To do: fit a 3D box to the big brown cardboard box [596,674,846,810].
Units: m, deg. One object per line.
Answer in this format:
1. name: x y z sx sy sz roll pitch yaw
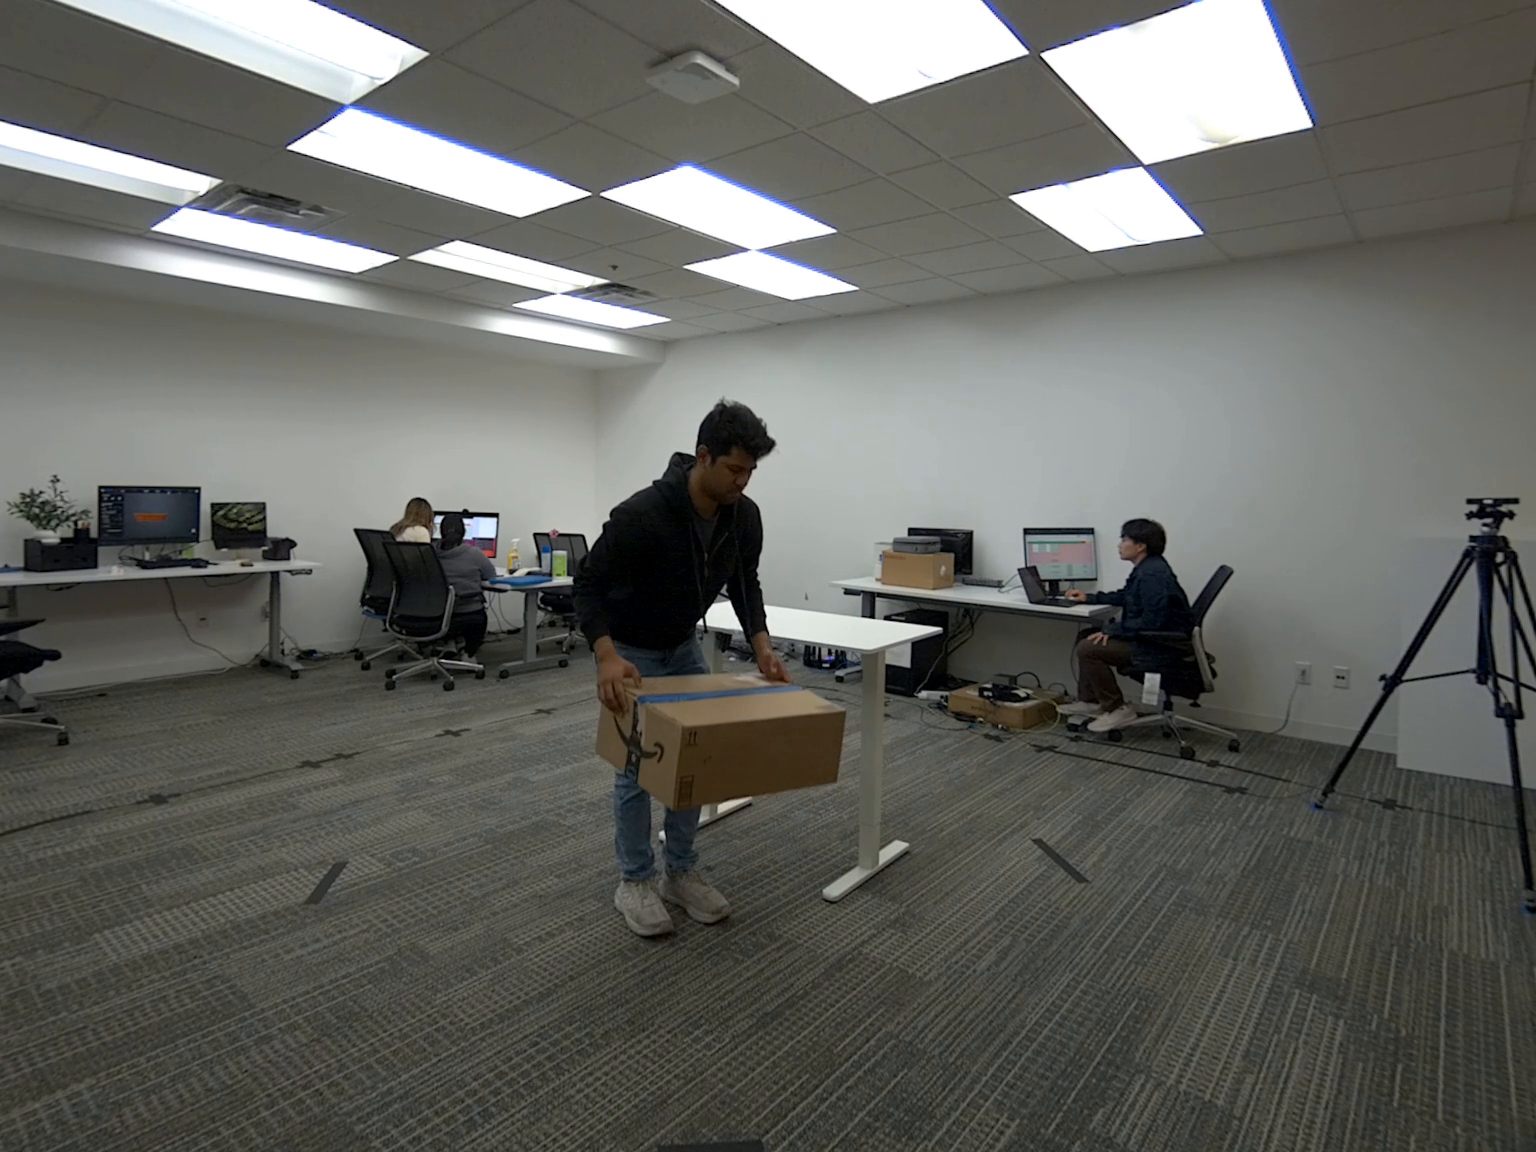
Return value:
1. big brown cardboard box: -0.133 0.446 2.406 0.570 0.232 0.433 1 8 -38
